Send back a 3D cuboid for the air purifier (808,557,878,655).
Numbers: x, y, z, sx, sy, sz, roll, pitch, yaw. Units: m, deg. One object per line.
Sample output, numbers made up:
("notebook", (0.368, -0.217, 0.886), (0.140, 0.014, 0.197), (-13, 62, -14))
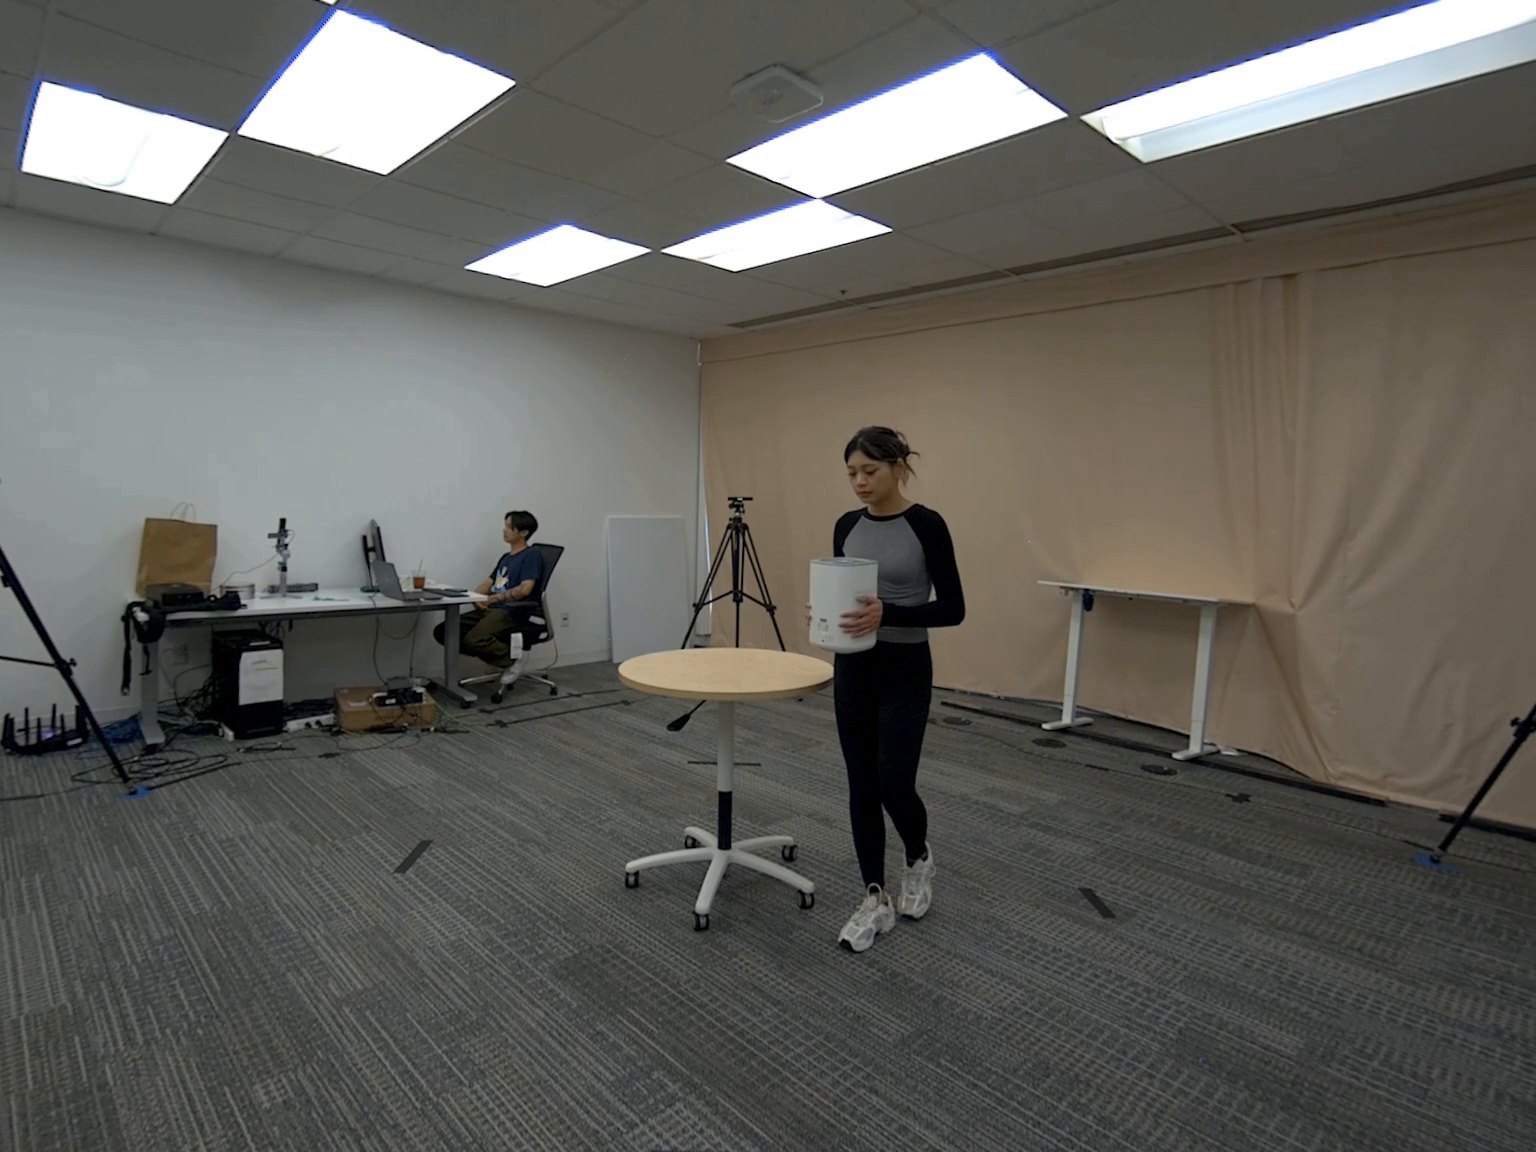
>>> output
("air purifier", (0.224, 0.090, 2.510), (0.168, 0.264, 0.175), (-5, 7, -40))
